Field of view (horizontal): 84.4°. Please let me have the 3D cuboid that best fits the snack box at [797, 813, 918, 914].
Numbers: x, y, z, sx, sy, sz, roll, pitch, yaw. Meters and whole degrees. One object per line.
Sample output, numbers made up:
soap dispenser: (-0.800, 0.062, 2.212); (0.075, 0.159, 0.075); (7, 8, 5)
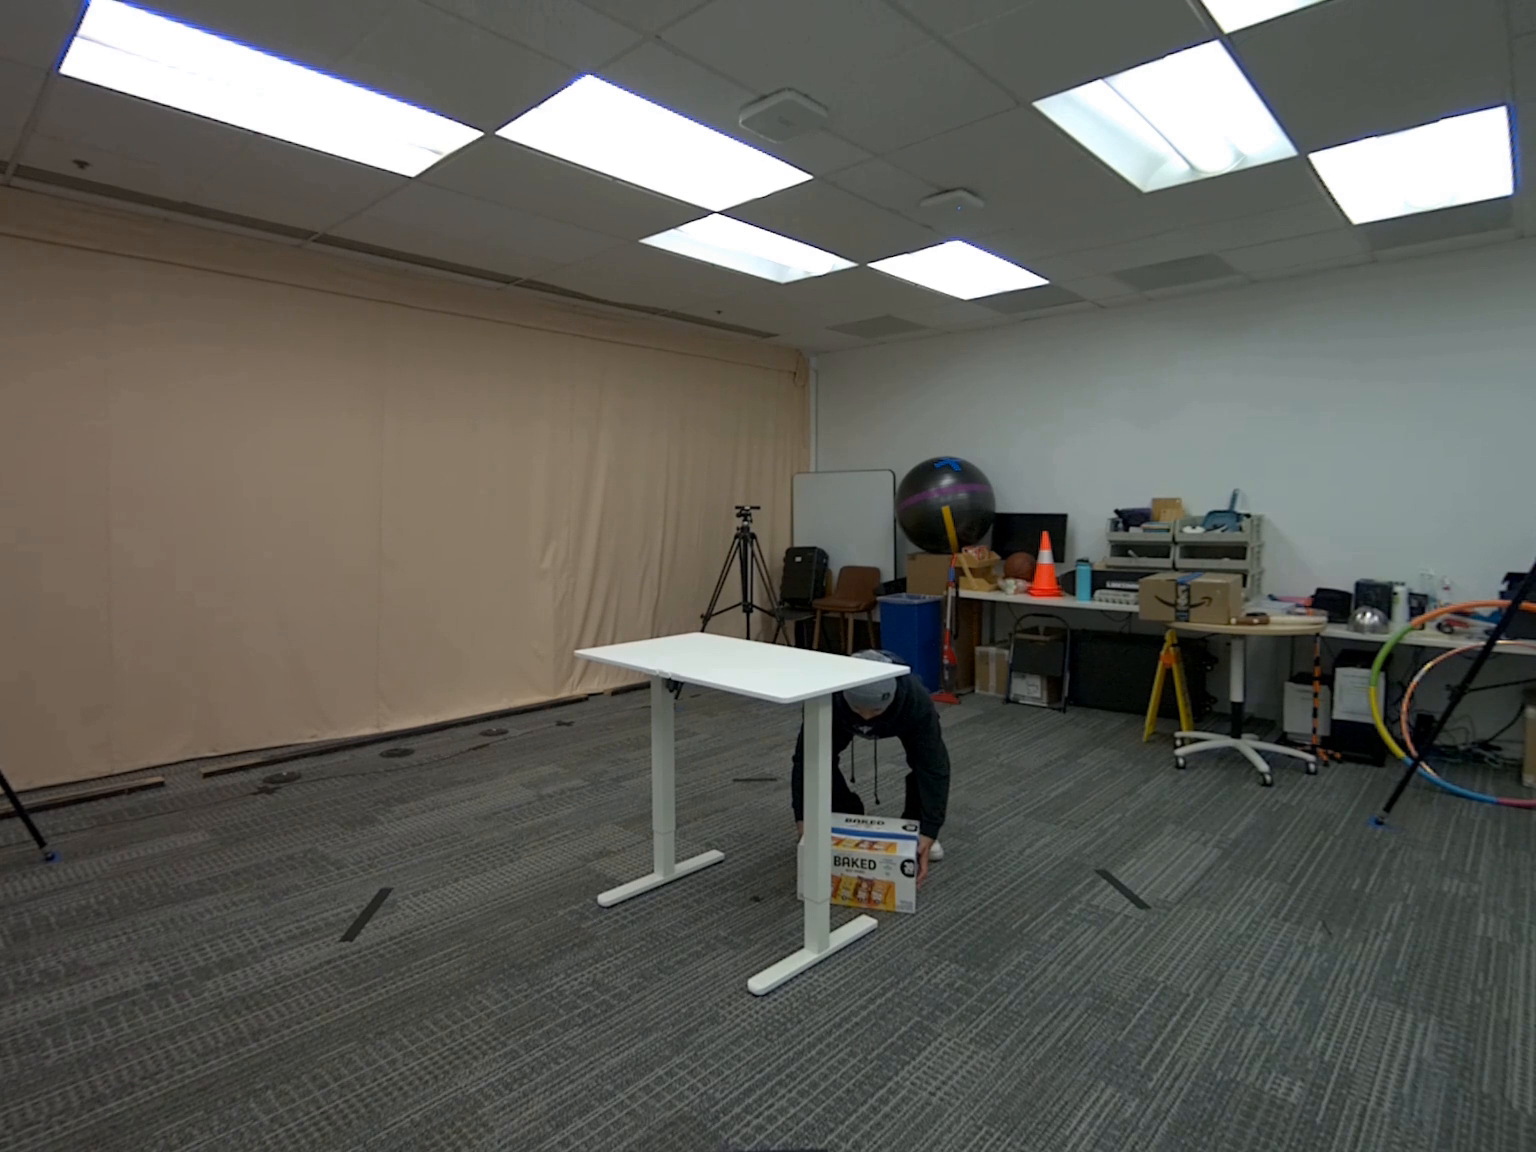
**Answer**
snack box: (0.344, 1.035, 3.071); (0.412, 0.205, 0.336); (1, 5, 15)
